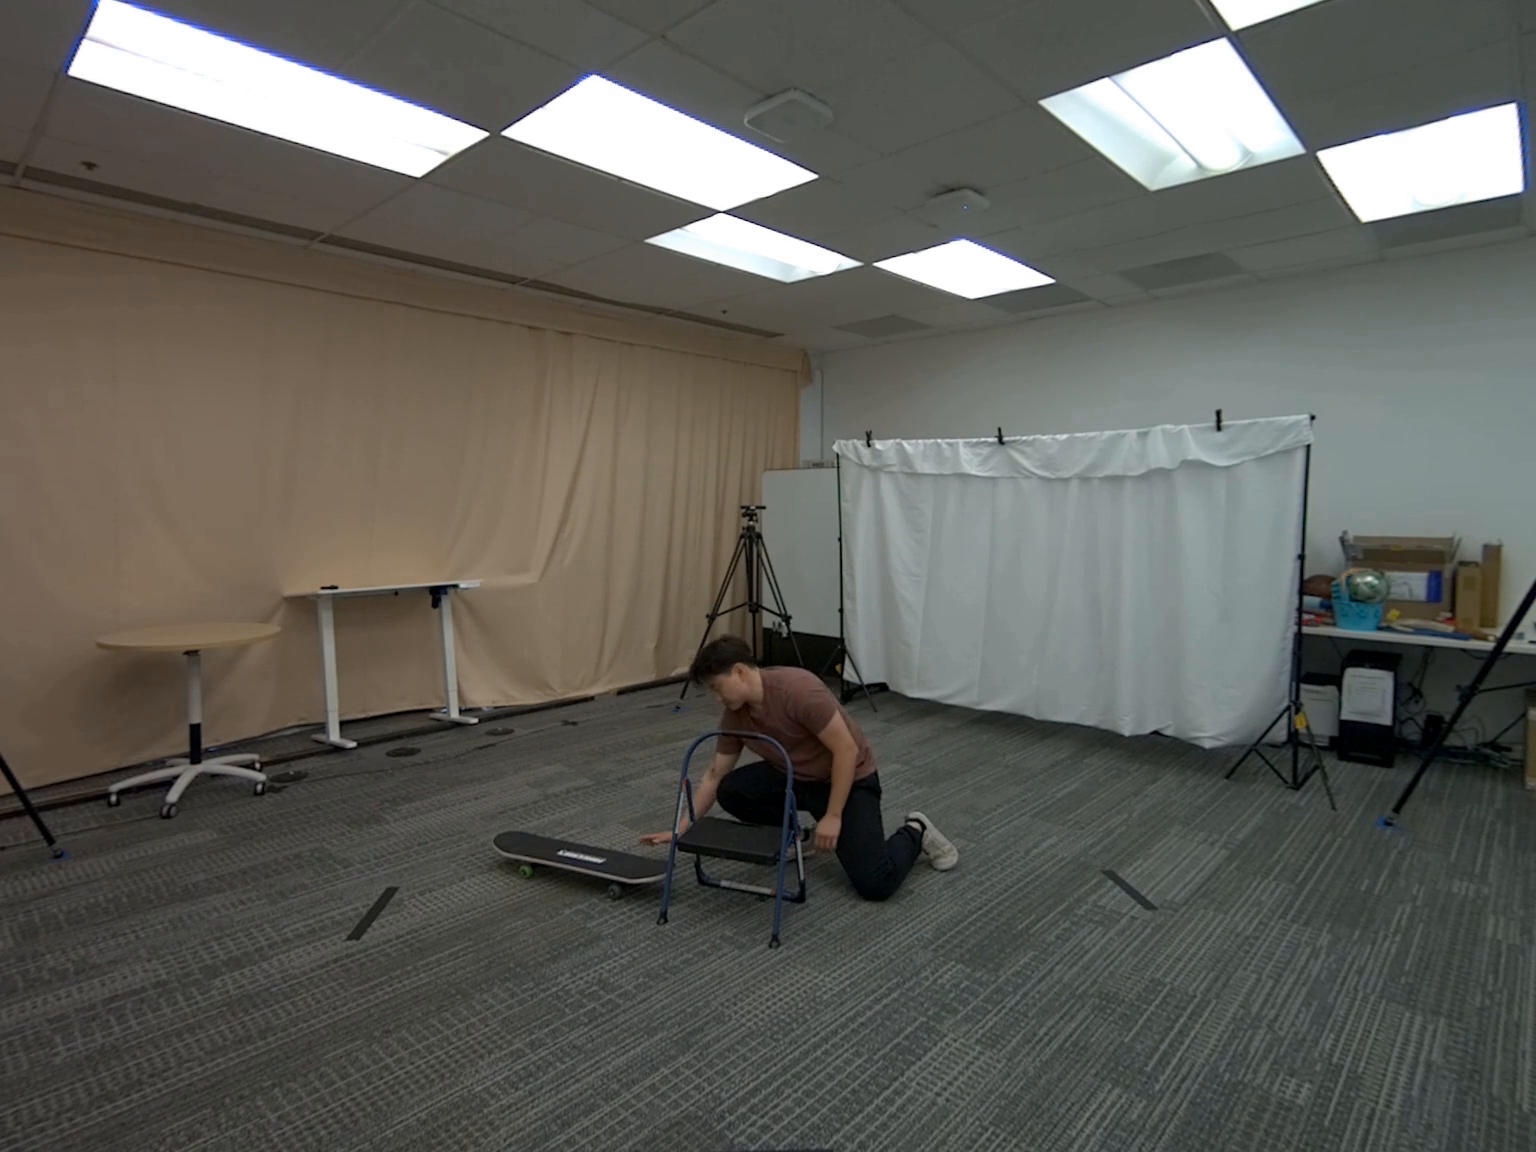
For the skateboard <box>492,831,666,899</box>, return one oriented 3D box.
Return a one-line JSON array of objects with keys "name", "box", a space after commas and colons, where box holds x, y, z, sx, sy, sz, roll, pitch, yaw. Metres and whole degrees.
[{"name": "skateboard", "box": [-0.701, 1.084, 3.152, 0.805, 0.110, 0.189, 1, 4, 25]}]
